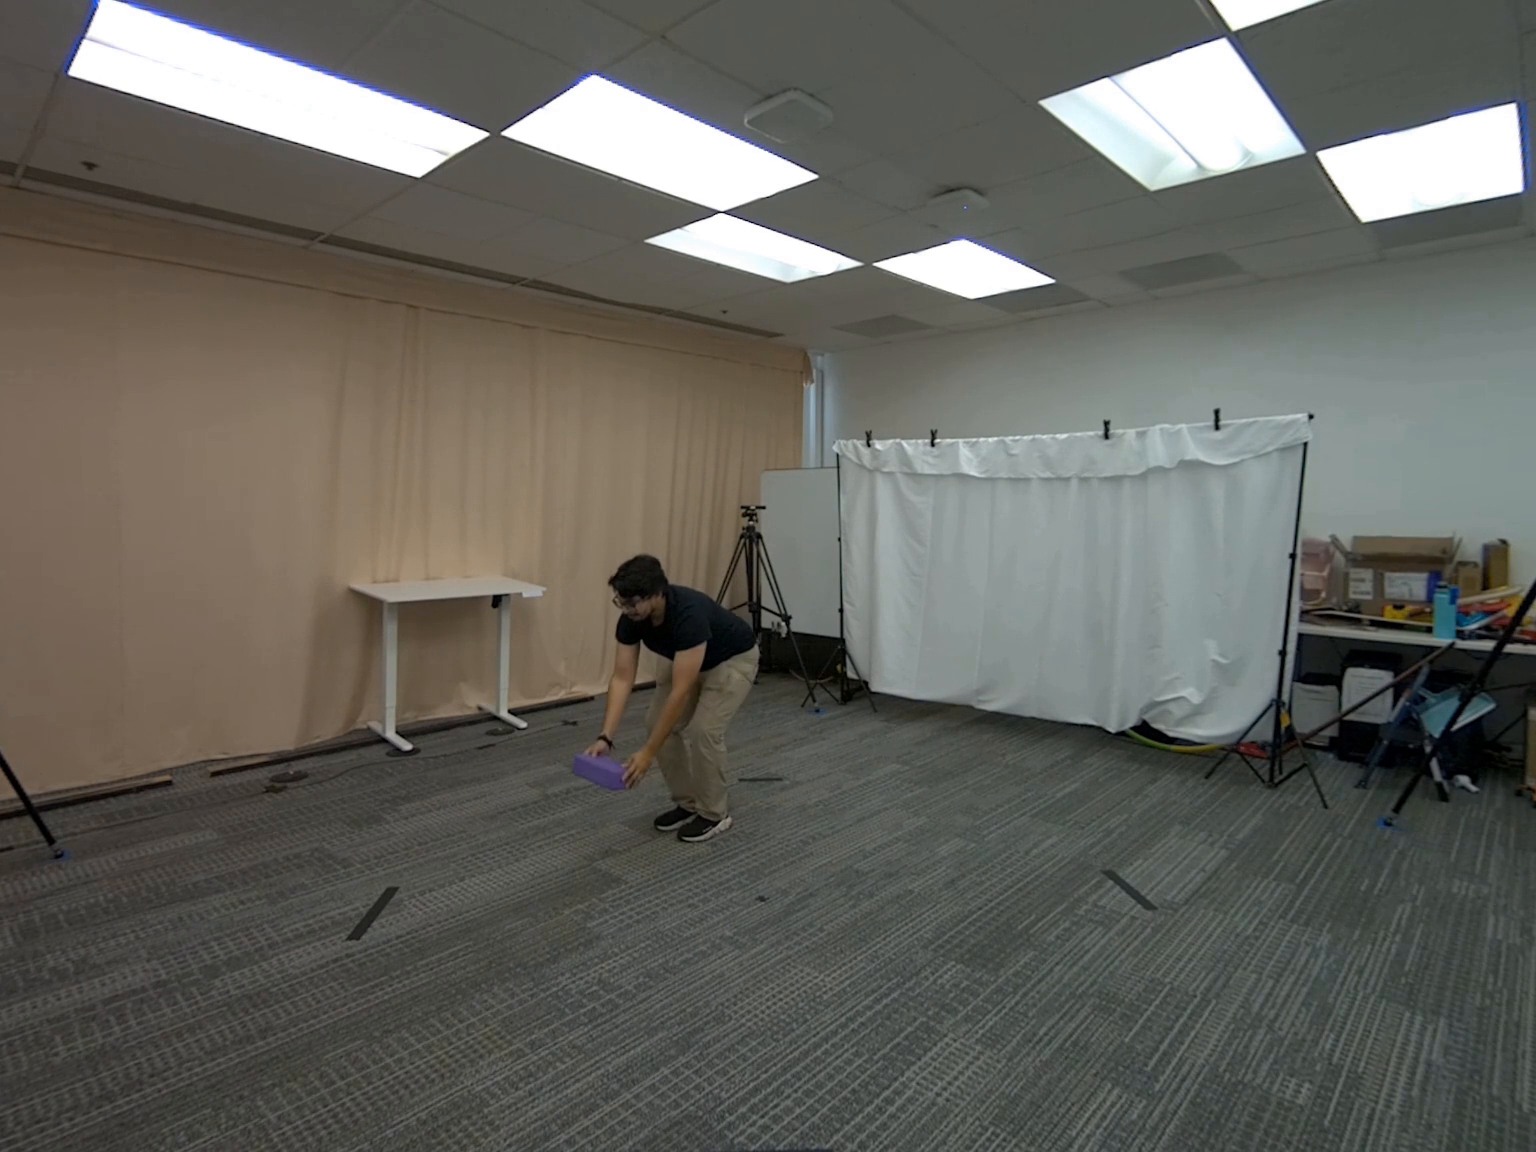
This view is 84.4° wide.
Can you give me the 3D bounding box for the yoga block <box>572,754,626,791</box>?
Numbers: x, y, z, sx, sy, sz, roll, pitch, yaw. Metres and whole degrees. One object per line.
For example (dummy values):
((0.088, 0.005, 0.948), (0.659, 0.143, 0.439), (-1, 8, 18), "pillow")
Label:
((-0.634, 0.741, 3.282), (0.237, 0.076, 0.144), (12, 1, 36), "yoga block")
